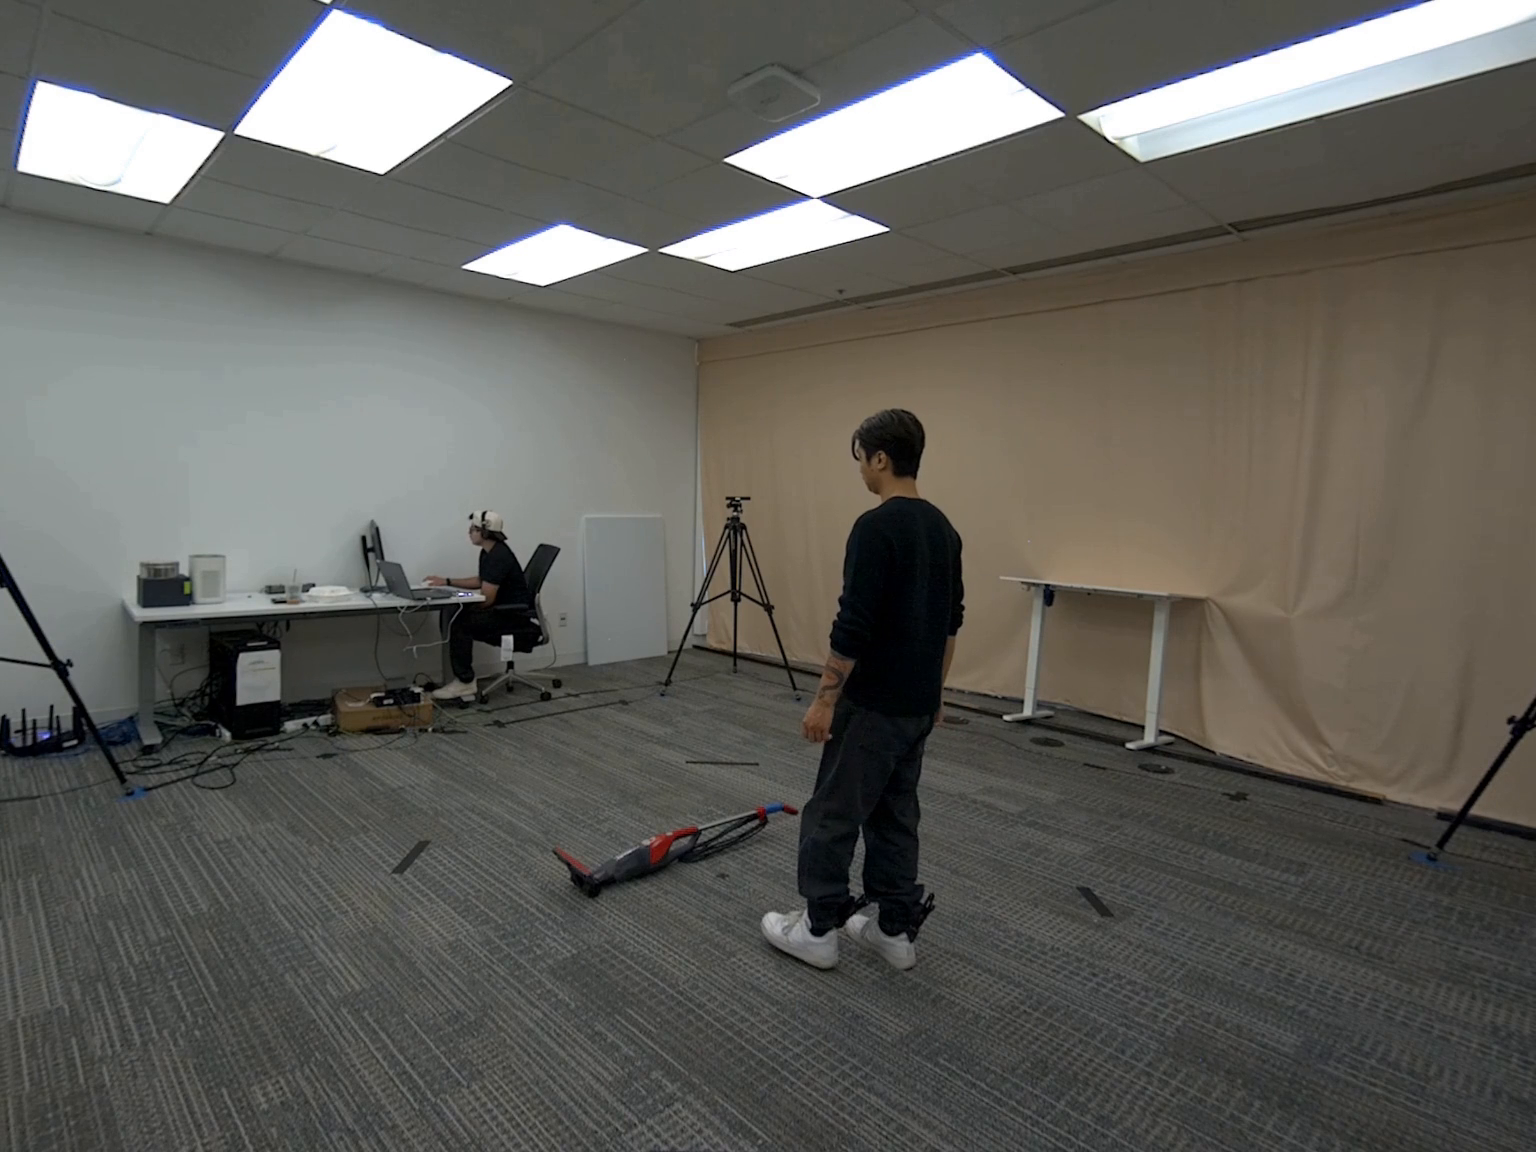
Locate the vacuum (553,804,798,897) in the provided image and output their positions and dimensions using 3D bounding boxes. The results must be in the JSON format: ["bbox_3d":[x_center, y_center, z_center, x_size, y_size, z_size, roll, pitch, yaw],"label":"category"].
[{"bbox_3d":[-0.282,1.031,3.259,1.025,0.143,0.259,-2,7,-40],"label":"vacuum"}]
